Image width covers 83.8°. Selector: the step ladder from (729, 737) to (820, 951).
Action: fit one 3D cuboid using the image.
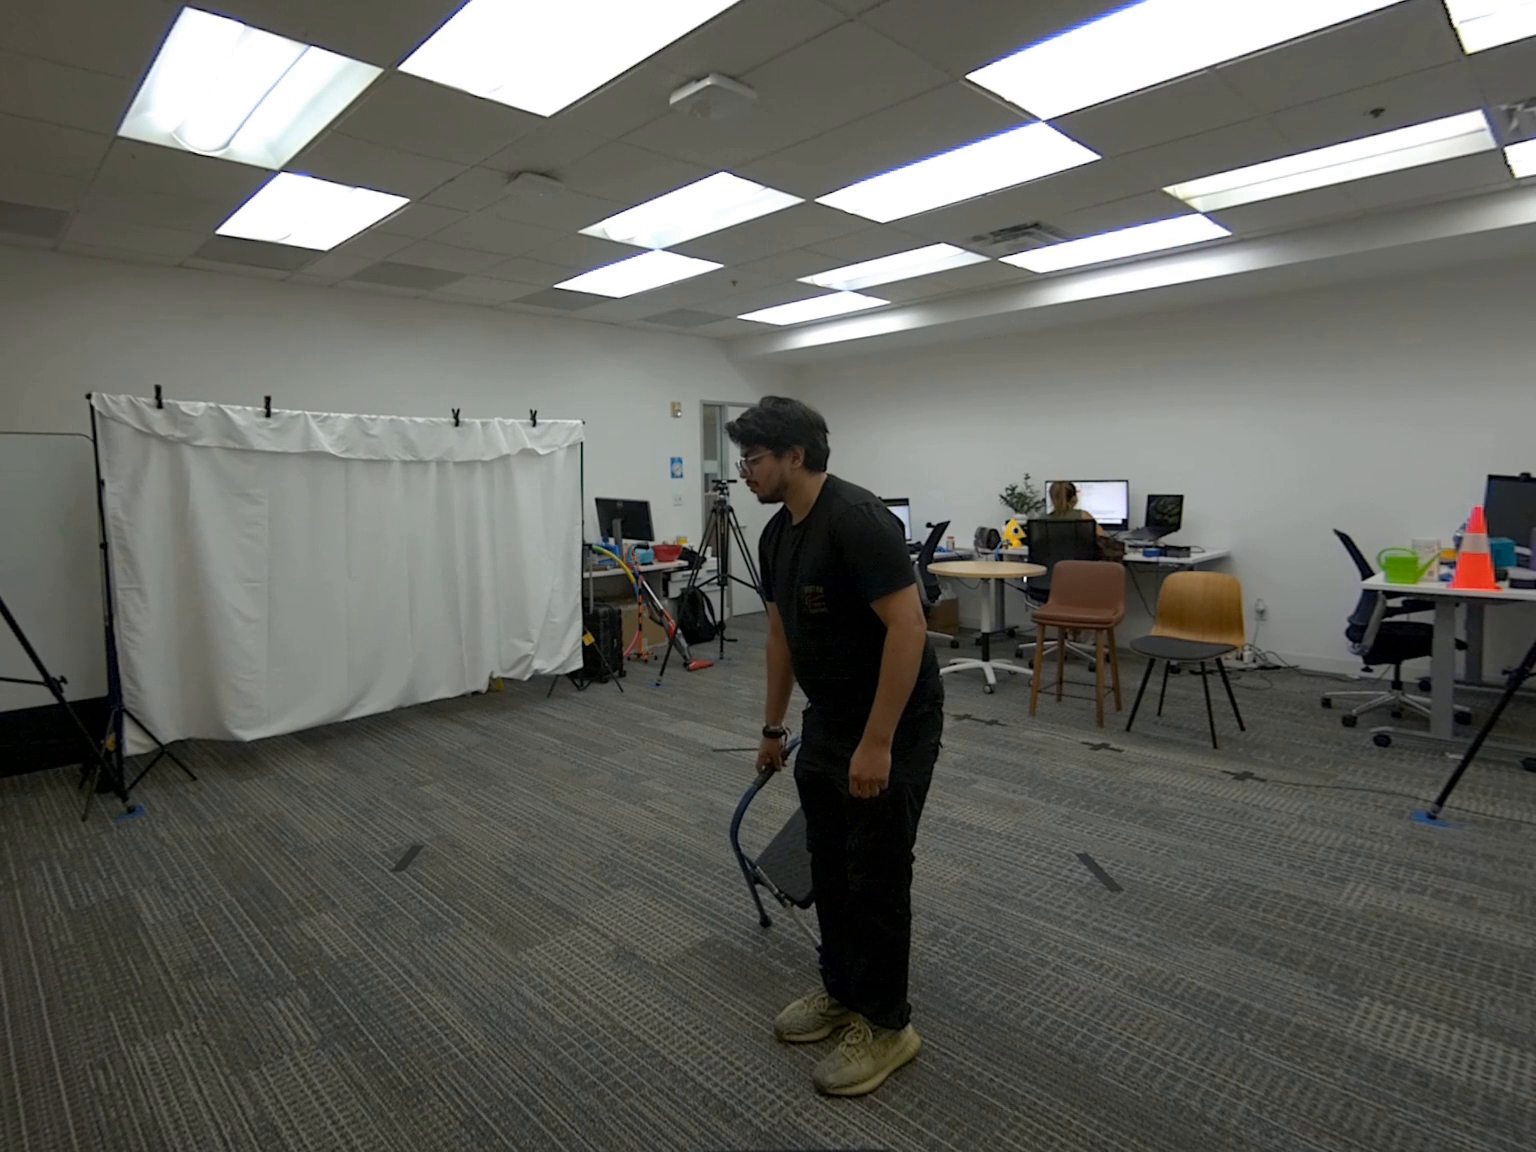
[{"bbox_3d":[0.094,0.750,2.532,0.360,0.589,0.430,4,42,50],"label":"step ladder"}]
